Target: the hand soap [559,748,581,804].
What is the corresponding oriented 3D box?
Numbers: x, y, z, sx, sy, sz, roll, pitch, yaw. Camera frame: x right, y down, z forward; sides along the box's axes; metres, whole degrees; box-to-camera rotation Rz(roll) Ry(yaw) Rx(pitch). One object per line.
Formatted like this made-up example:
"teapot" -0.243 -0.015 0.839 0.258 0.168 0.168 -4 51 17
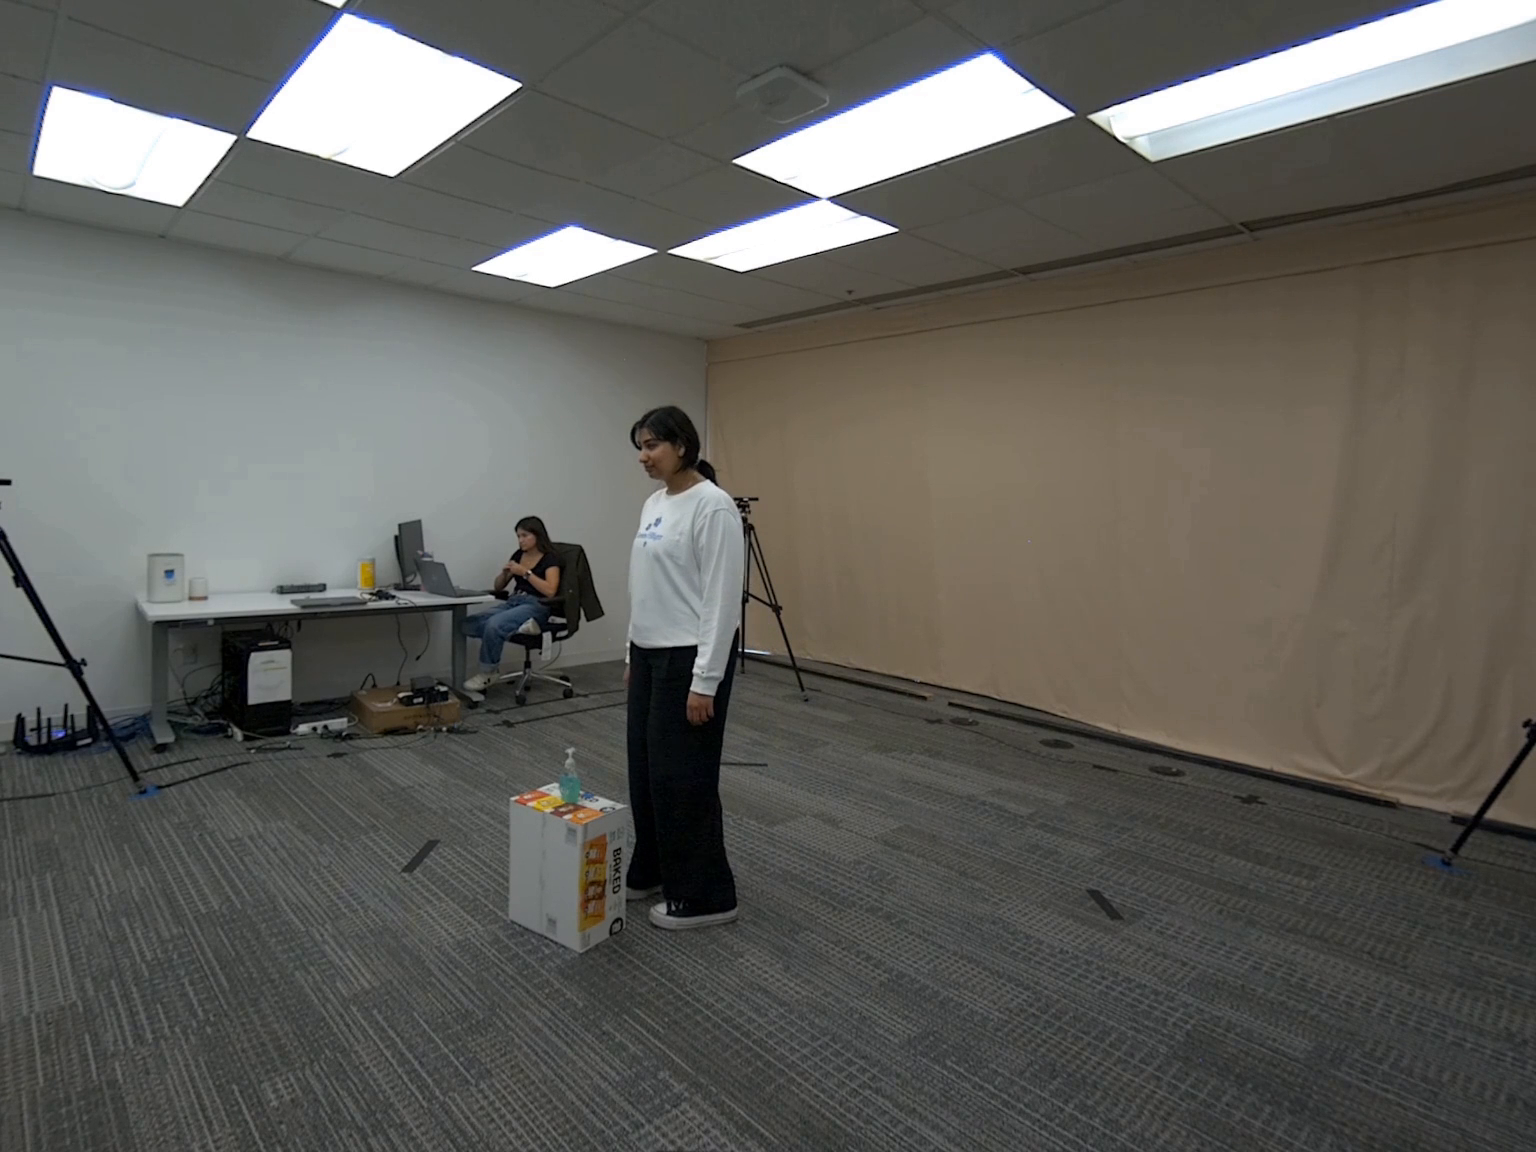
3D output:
"hand soap" -0.637 0.645 2.722 0.087 0.168 0.042 6 5 37
